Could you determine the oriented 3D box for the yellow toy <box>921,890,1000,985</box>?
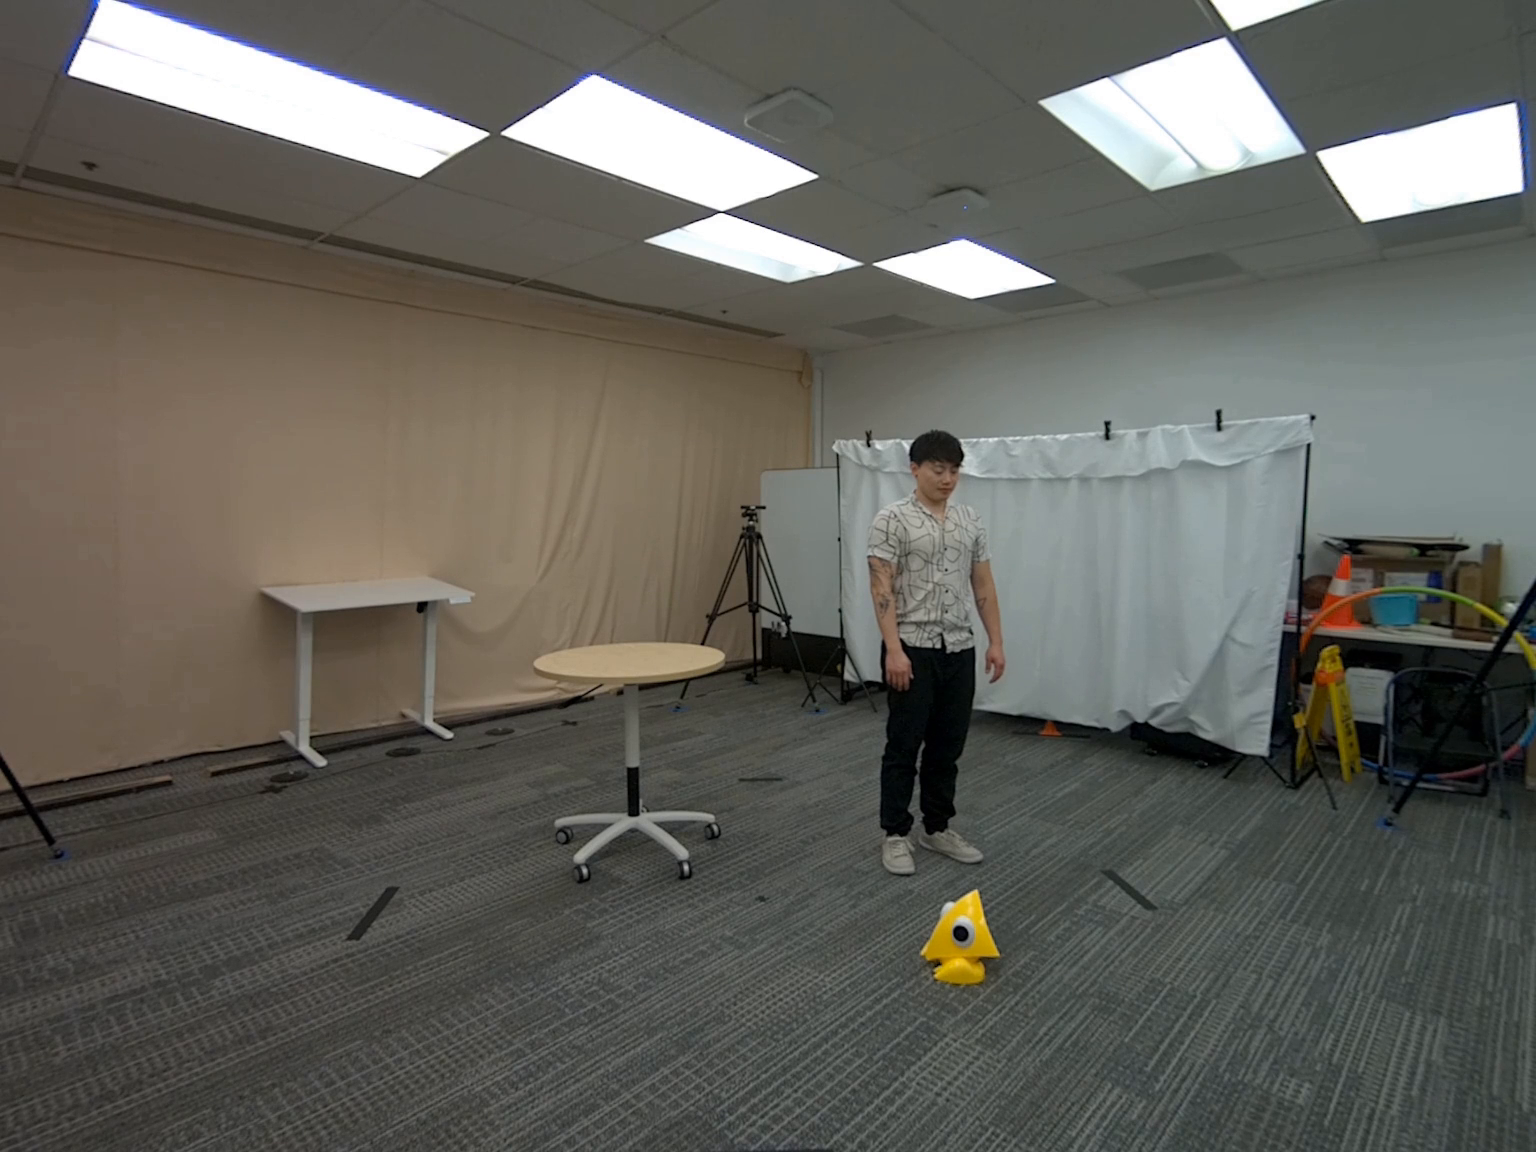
[{"bbox_3d":[0.577,1.071,2.533,0.192,0.230,0.206,1,4,-5],"label":"yellow toy"}]
